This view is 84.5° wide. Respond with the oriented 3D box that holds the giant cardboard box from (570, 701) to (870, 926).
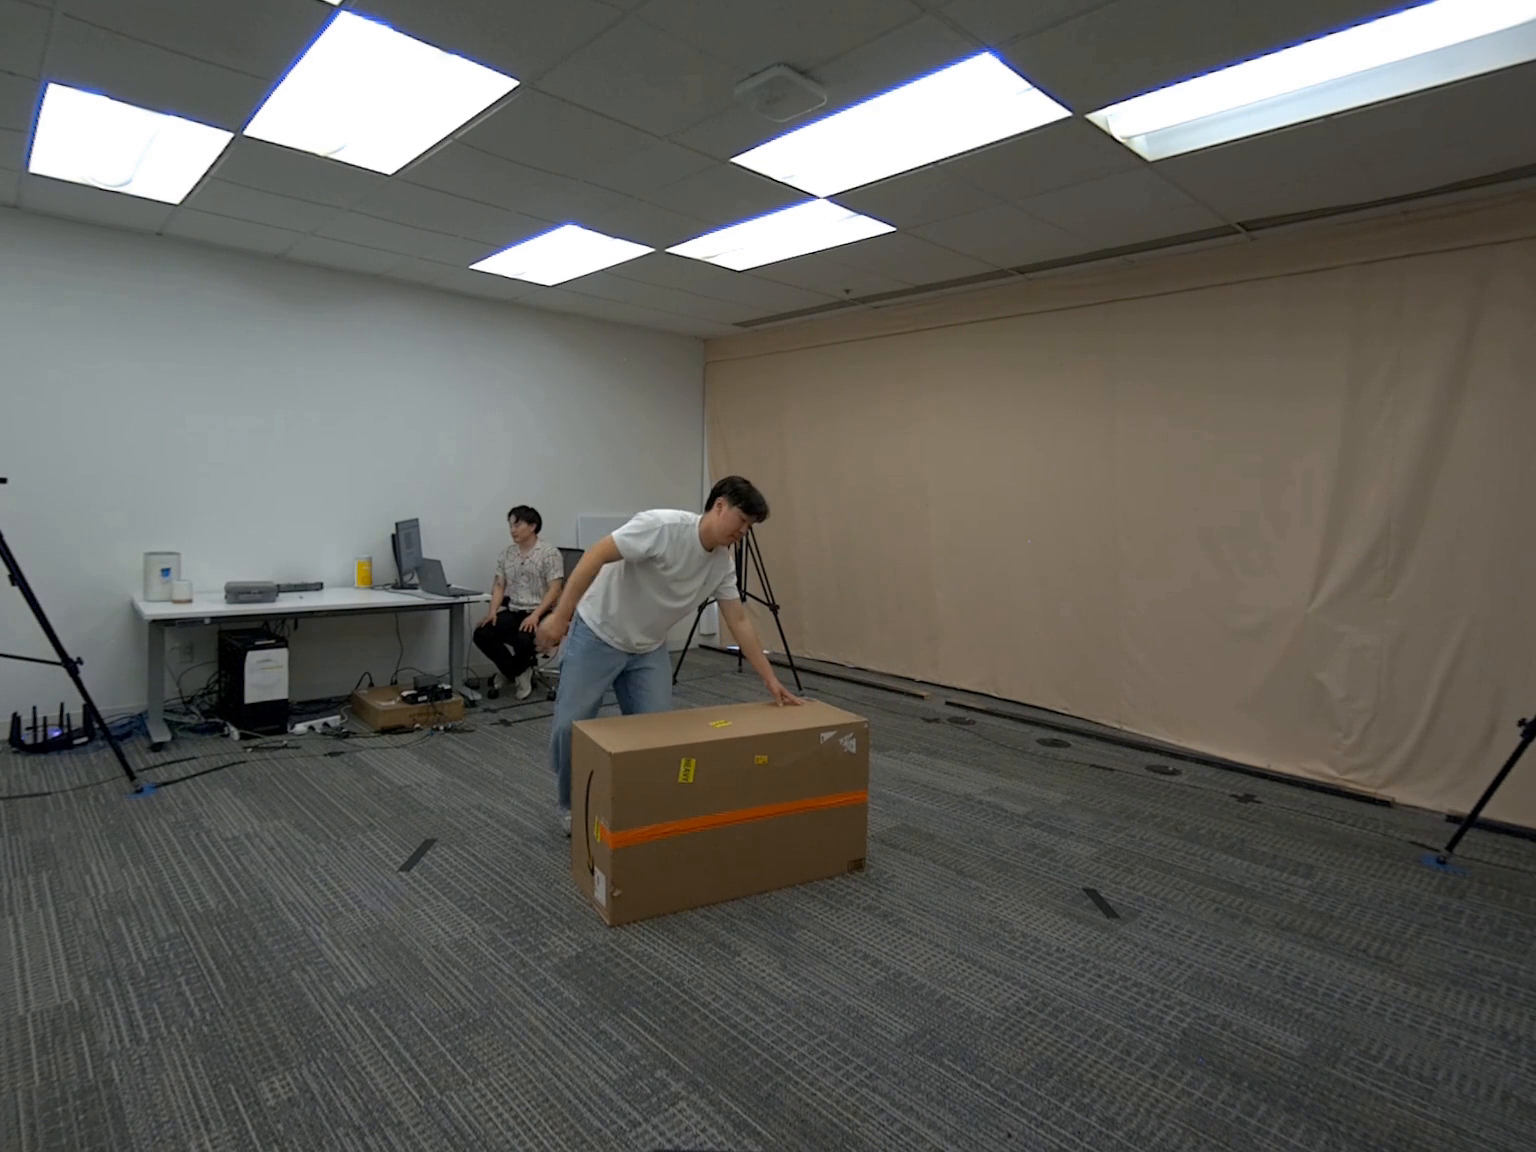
[{"bbox_3d":[-0.171,0.819,3.104,1.006,0.576,0.435,-1,4,-28],"label":"giant cardboard box"}]
